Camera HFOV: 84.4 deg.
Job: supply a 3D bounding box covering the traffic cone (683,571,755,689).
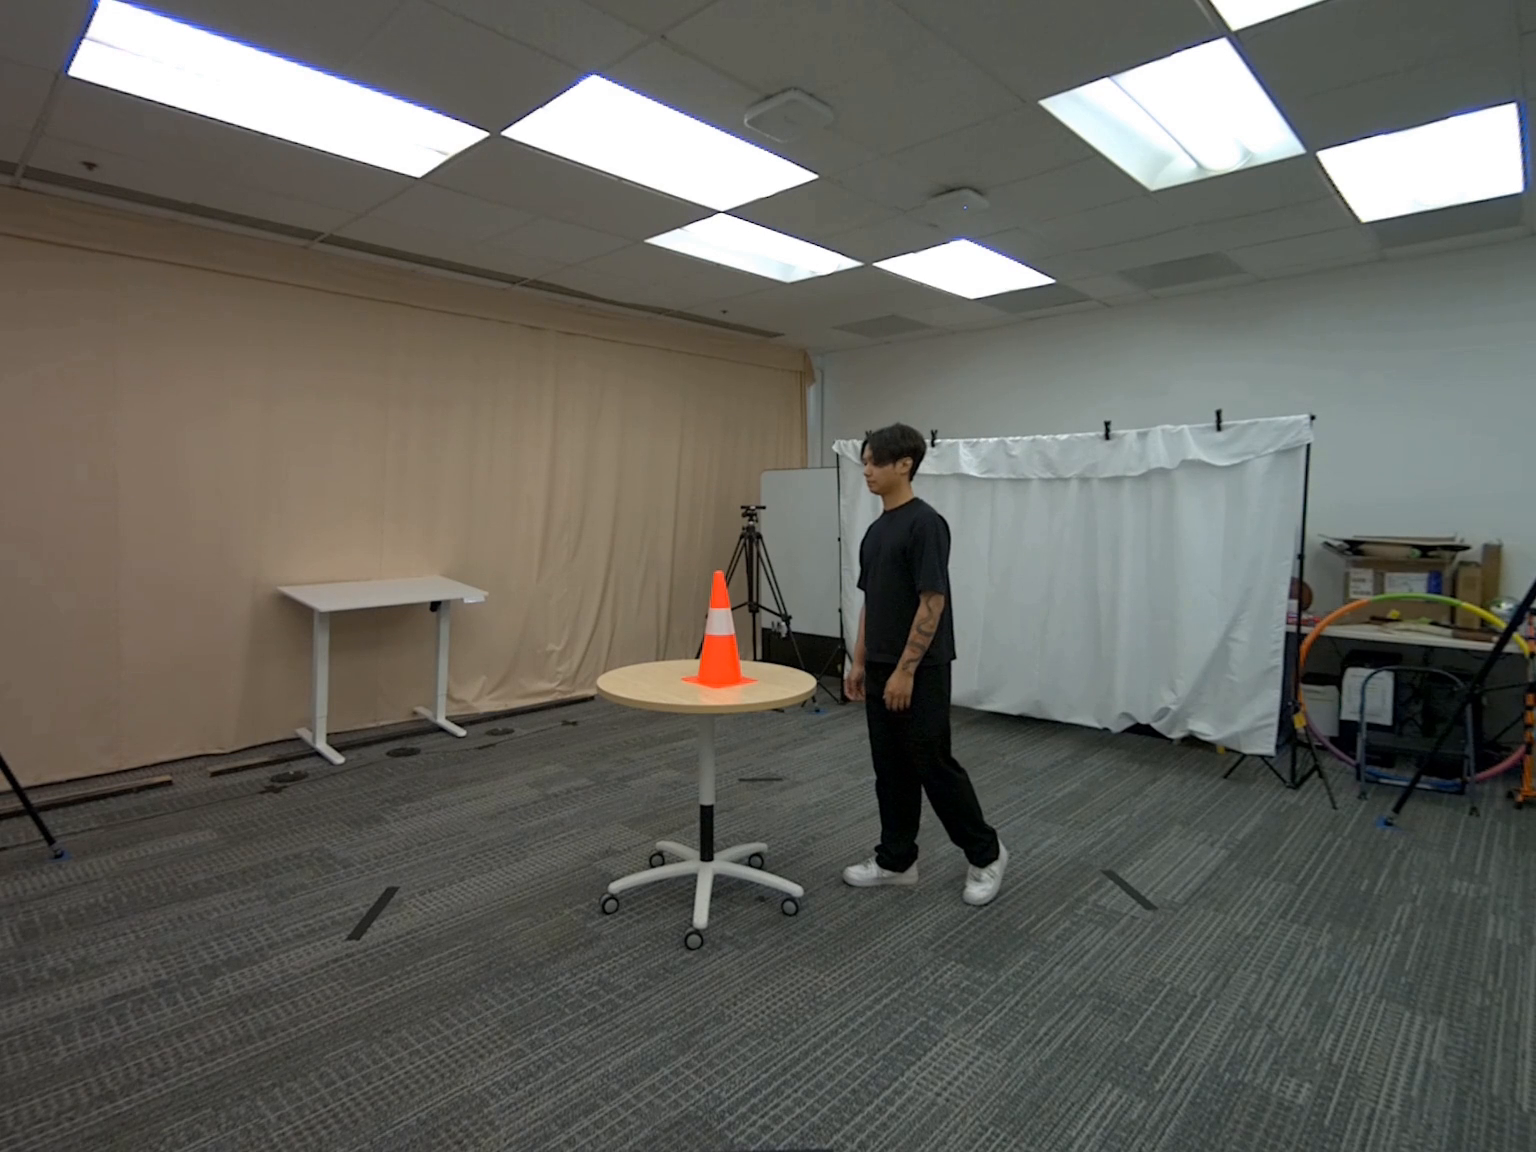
[{"bbox_3d":[-0.166,0.181,2.924,0.212,0.383,0.197,3,3,44],"label":"traffic cone"}]
